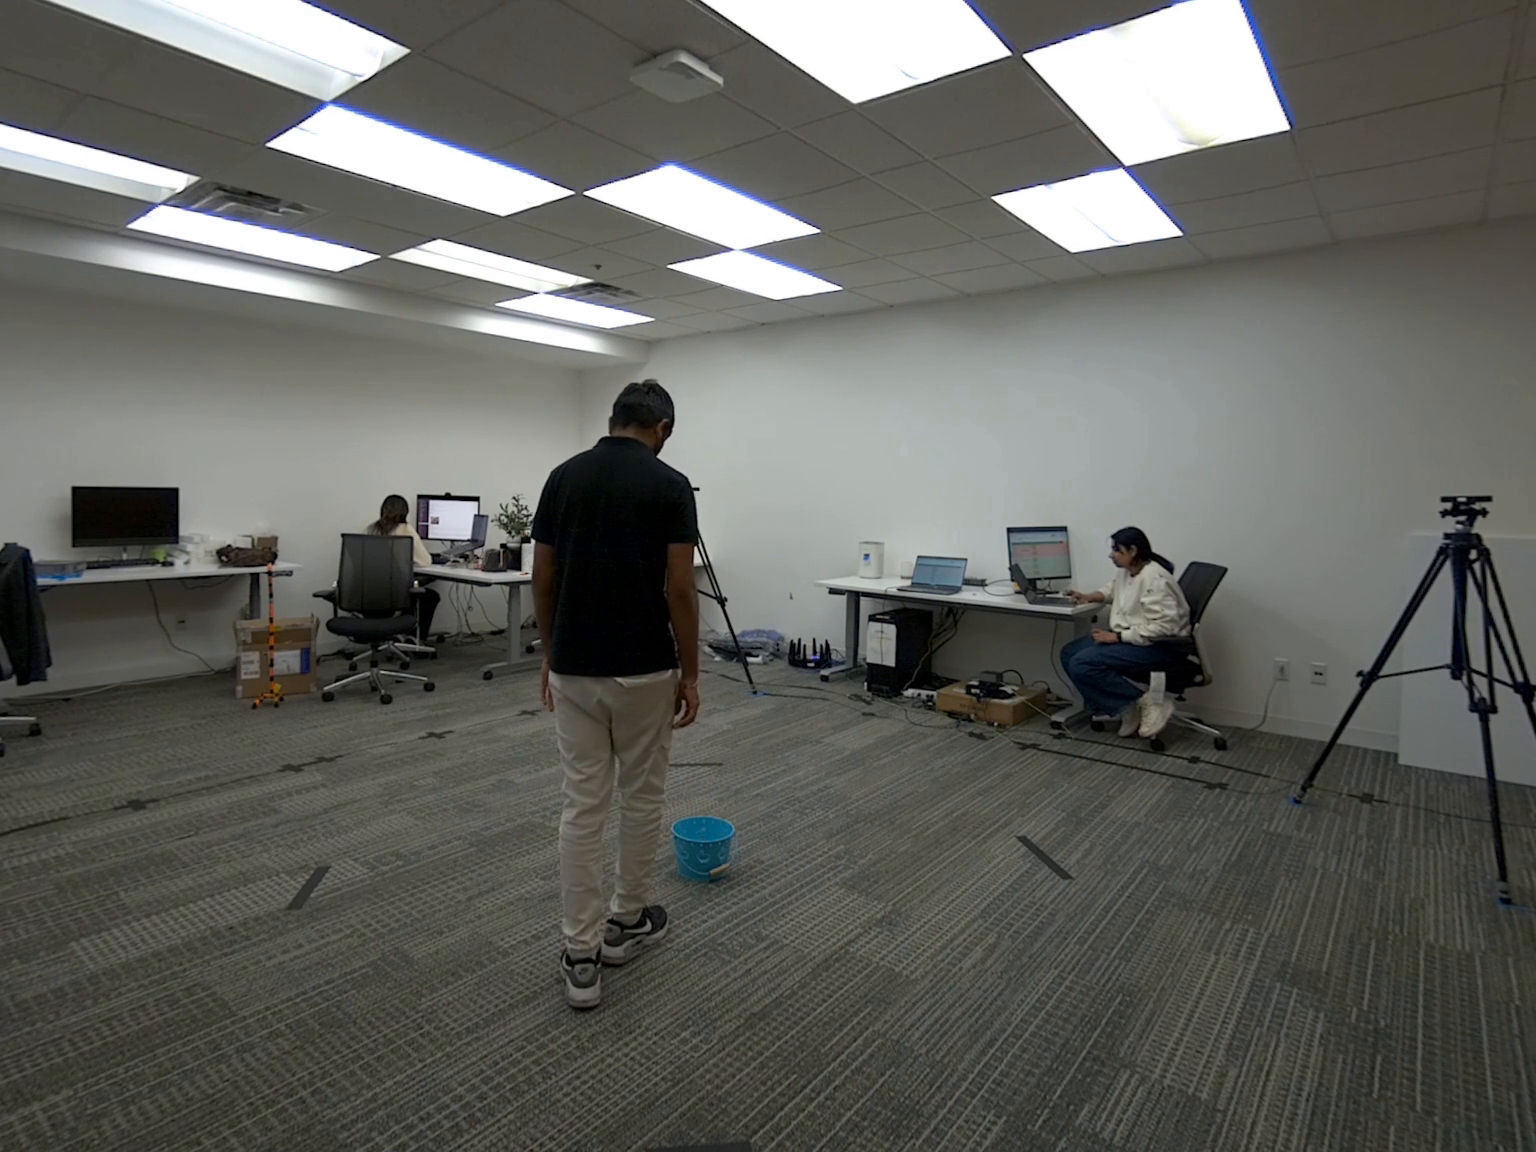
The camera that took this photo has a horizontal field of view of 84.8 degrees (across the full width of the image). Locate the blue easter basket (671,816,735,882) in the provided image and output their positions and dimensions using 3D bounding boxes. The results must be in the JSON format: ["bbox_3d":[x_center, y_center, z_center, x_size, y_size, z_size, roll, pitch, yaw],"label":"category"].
[{"bbox_3d":[-0.248,0.985,3.090,0.243,0.155,0.245,1,4,-2],"label":"blue easter basket"}]
